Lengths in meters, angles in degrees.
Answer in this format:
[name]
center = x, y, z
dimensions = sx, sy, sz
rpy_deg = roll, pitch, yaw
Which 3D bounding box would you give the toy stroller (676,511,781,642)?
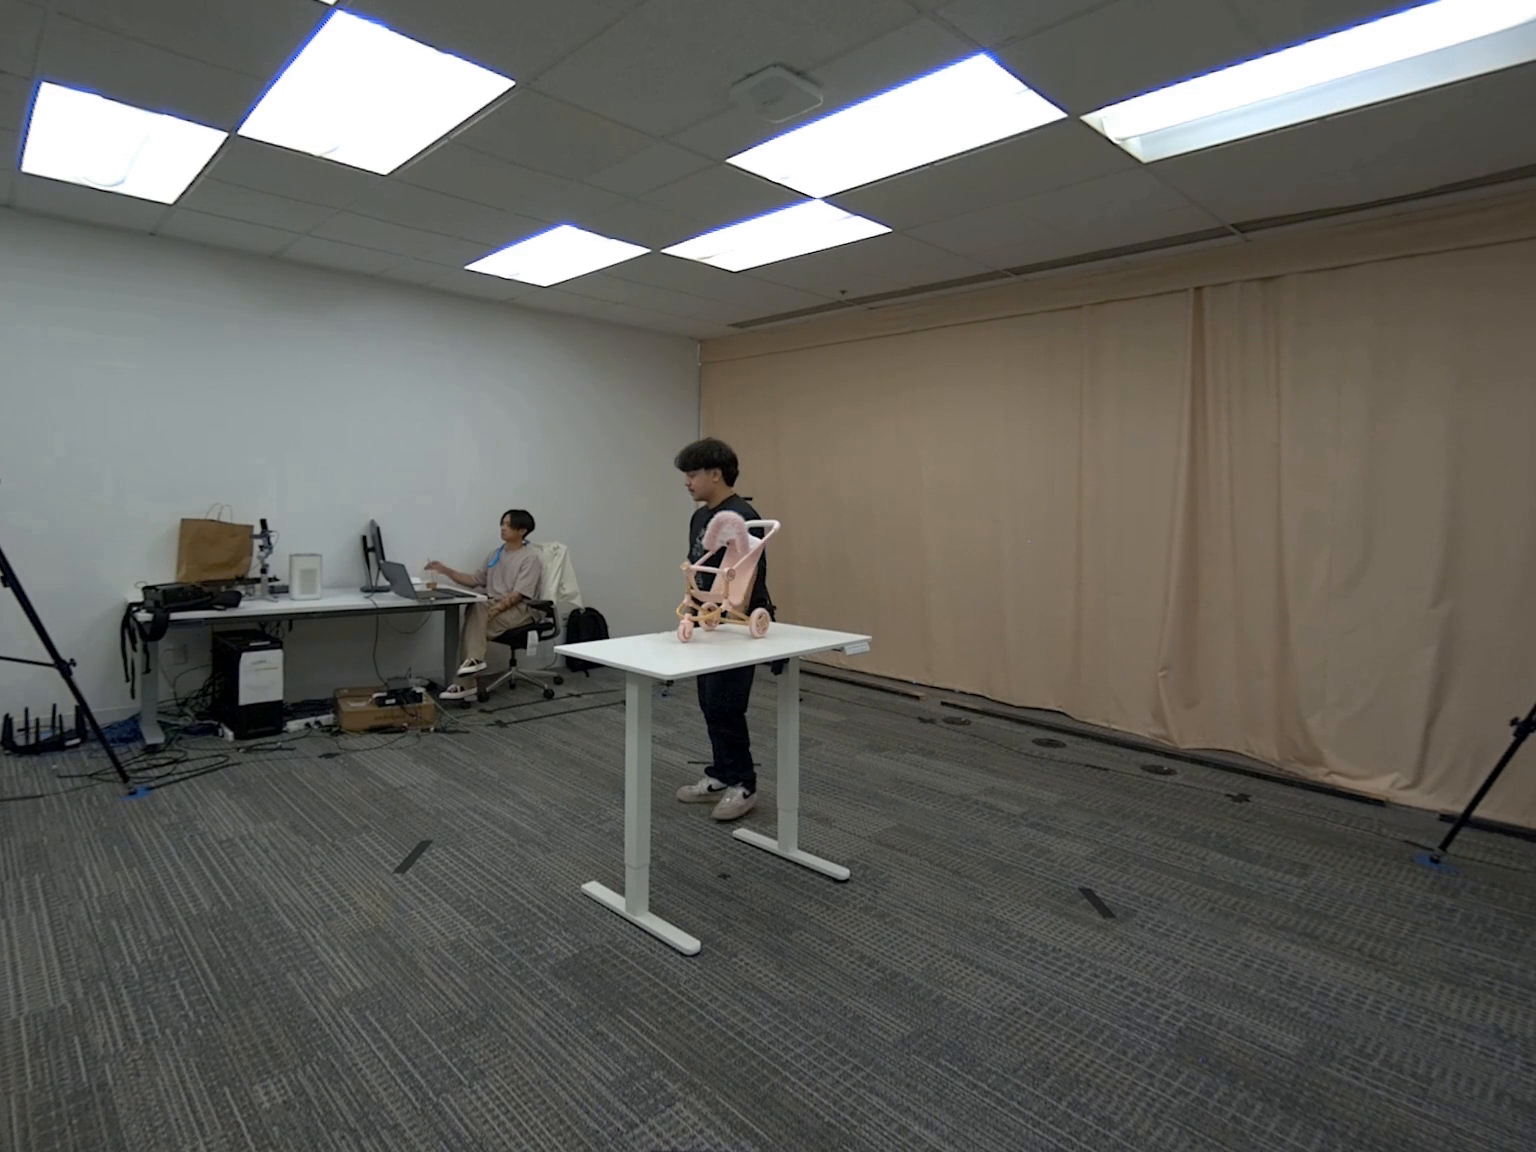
[toy stroller]
center = -0.177, 0.003, 3.097
dimensions = 0.288, 0.538, 0.331
rpy_deg = 2, -13, 44
